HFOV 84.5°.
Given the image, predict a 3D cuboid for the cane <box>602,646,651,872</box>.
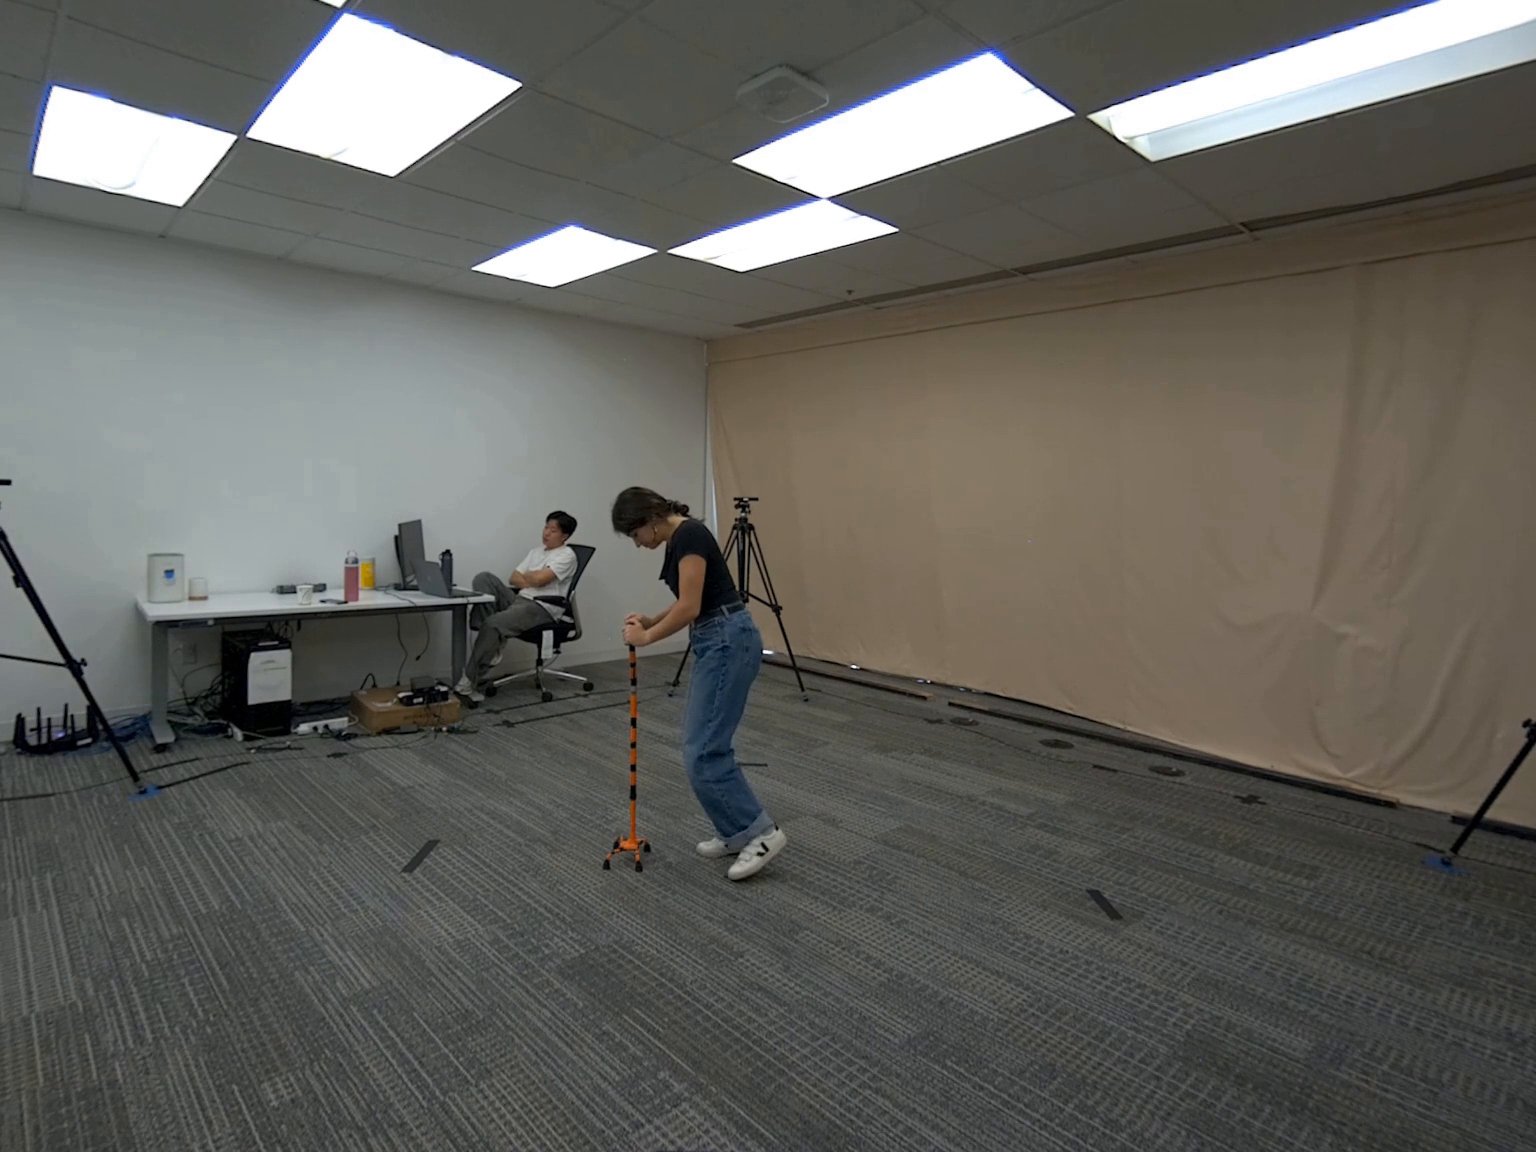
[{"bbox_3d":[-0.533,0.631,3.206,0.152,0.906,0.206,1,3,3],"label":"cane"}]
